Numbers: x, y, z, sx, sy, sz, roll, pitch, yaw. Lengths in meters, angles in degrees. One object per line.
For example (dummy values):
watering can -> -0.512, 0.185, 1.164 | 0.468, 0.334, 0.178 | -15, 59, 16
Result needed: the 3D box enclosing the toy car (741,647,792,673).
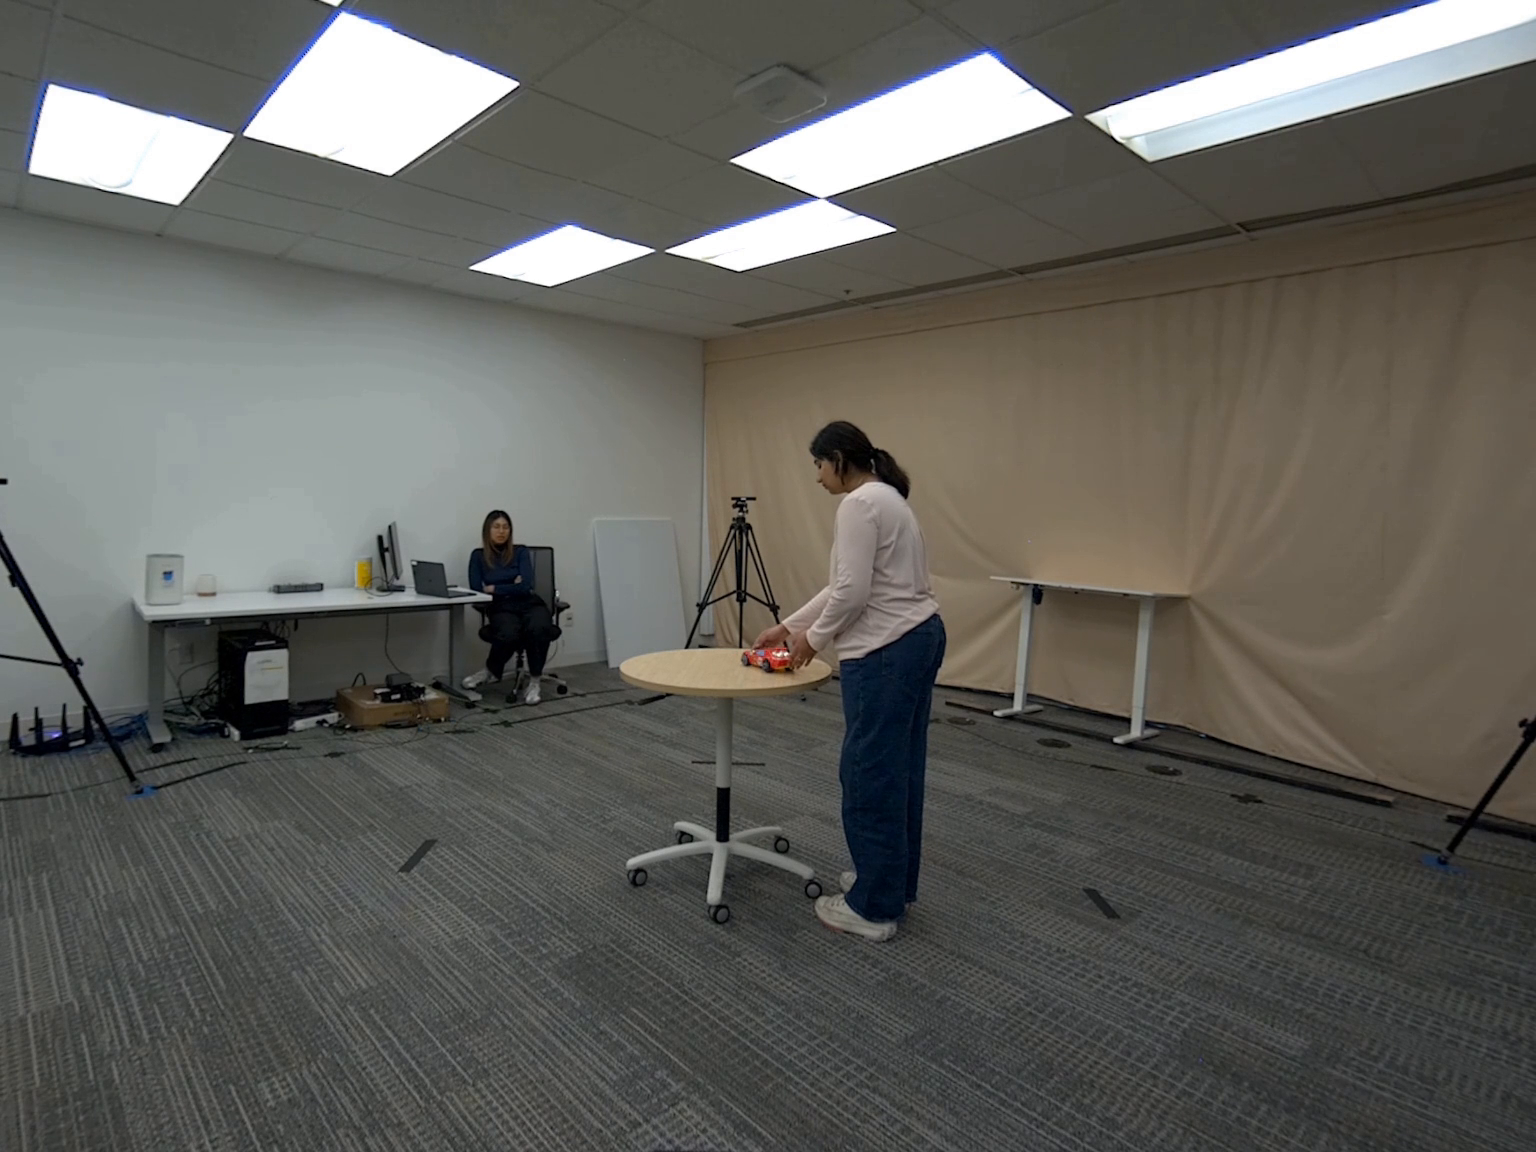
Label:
toy car -> 0.007, 0.301, 3.014 | 0.127, 0.083, 0.258 | -2, -6, -32
